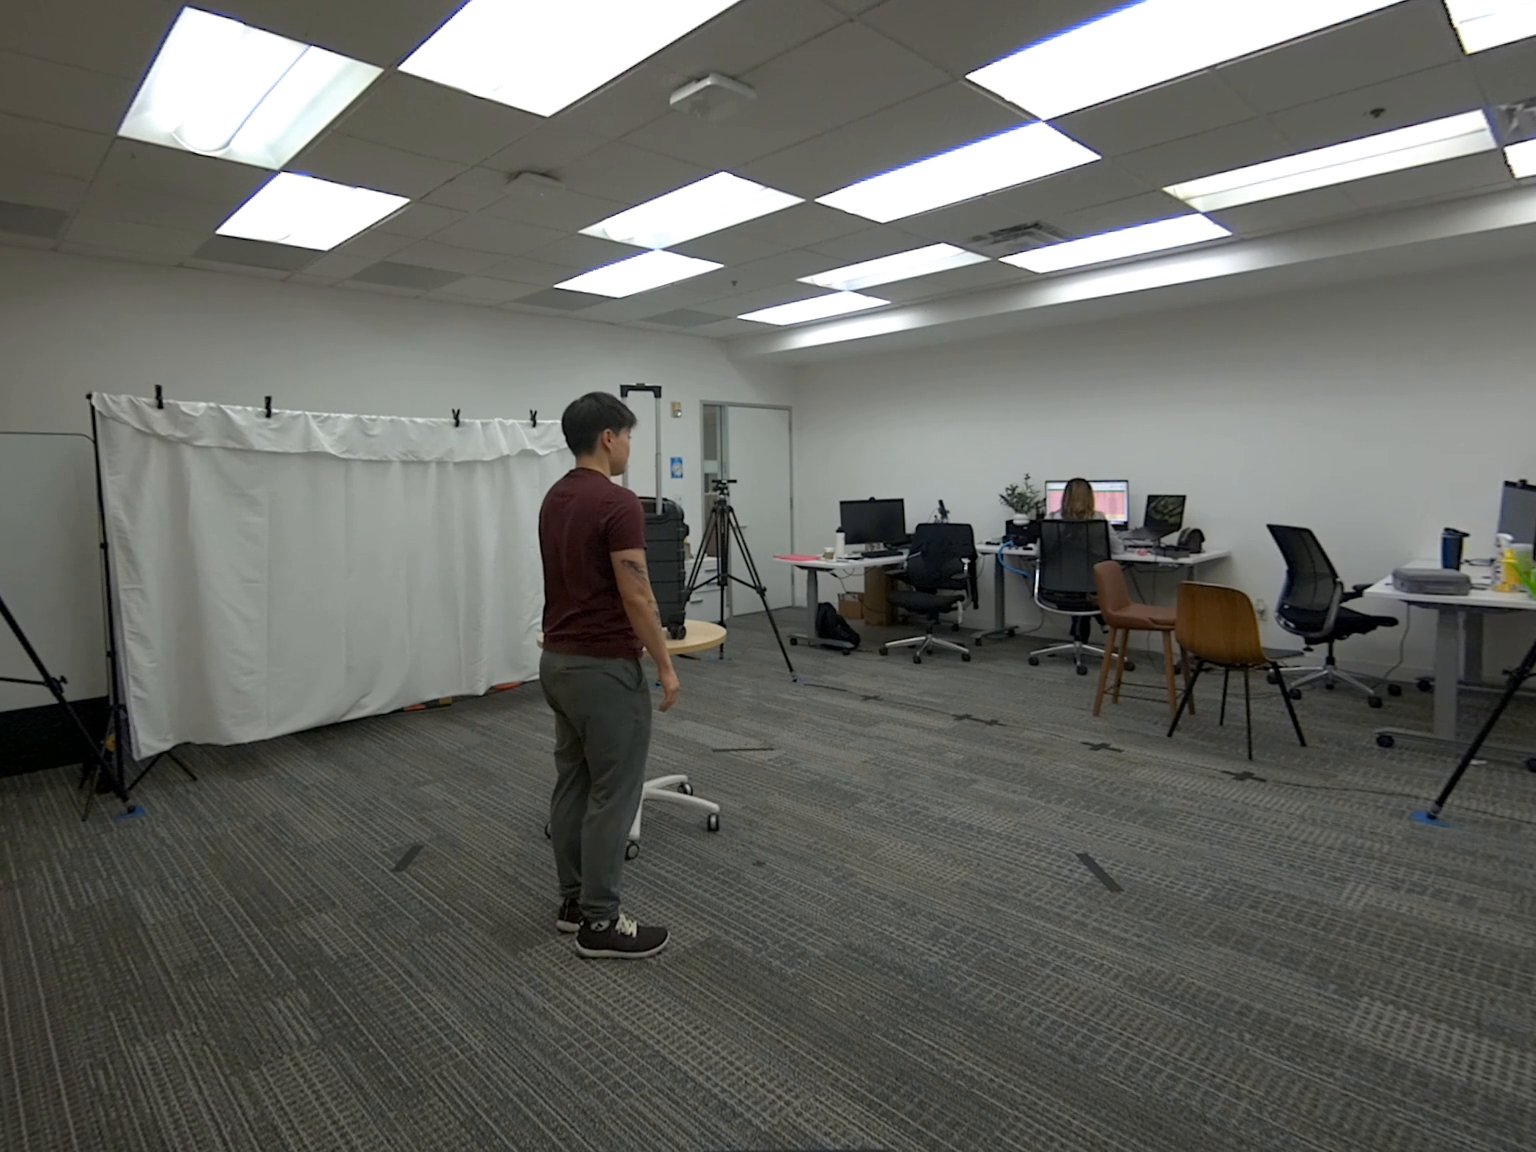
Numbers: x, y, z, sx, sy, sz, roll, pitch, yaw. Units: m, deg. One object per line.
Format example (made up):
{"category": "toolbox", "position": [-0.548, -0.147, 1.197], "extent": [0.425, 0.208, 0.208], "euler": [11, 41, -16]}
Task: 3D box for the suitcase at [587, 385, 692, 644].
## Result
{"category": "suitcase", "position": [-0.513, -0.240, 3.382], "extent": [0.380, 0.978, 0.260], "euler": [-1, 1, -11]}
